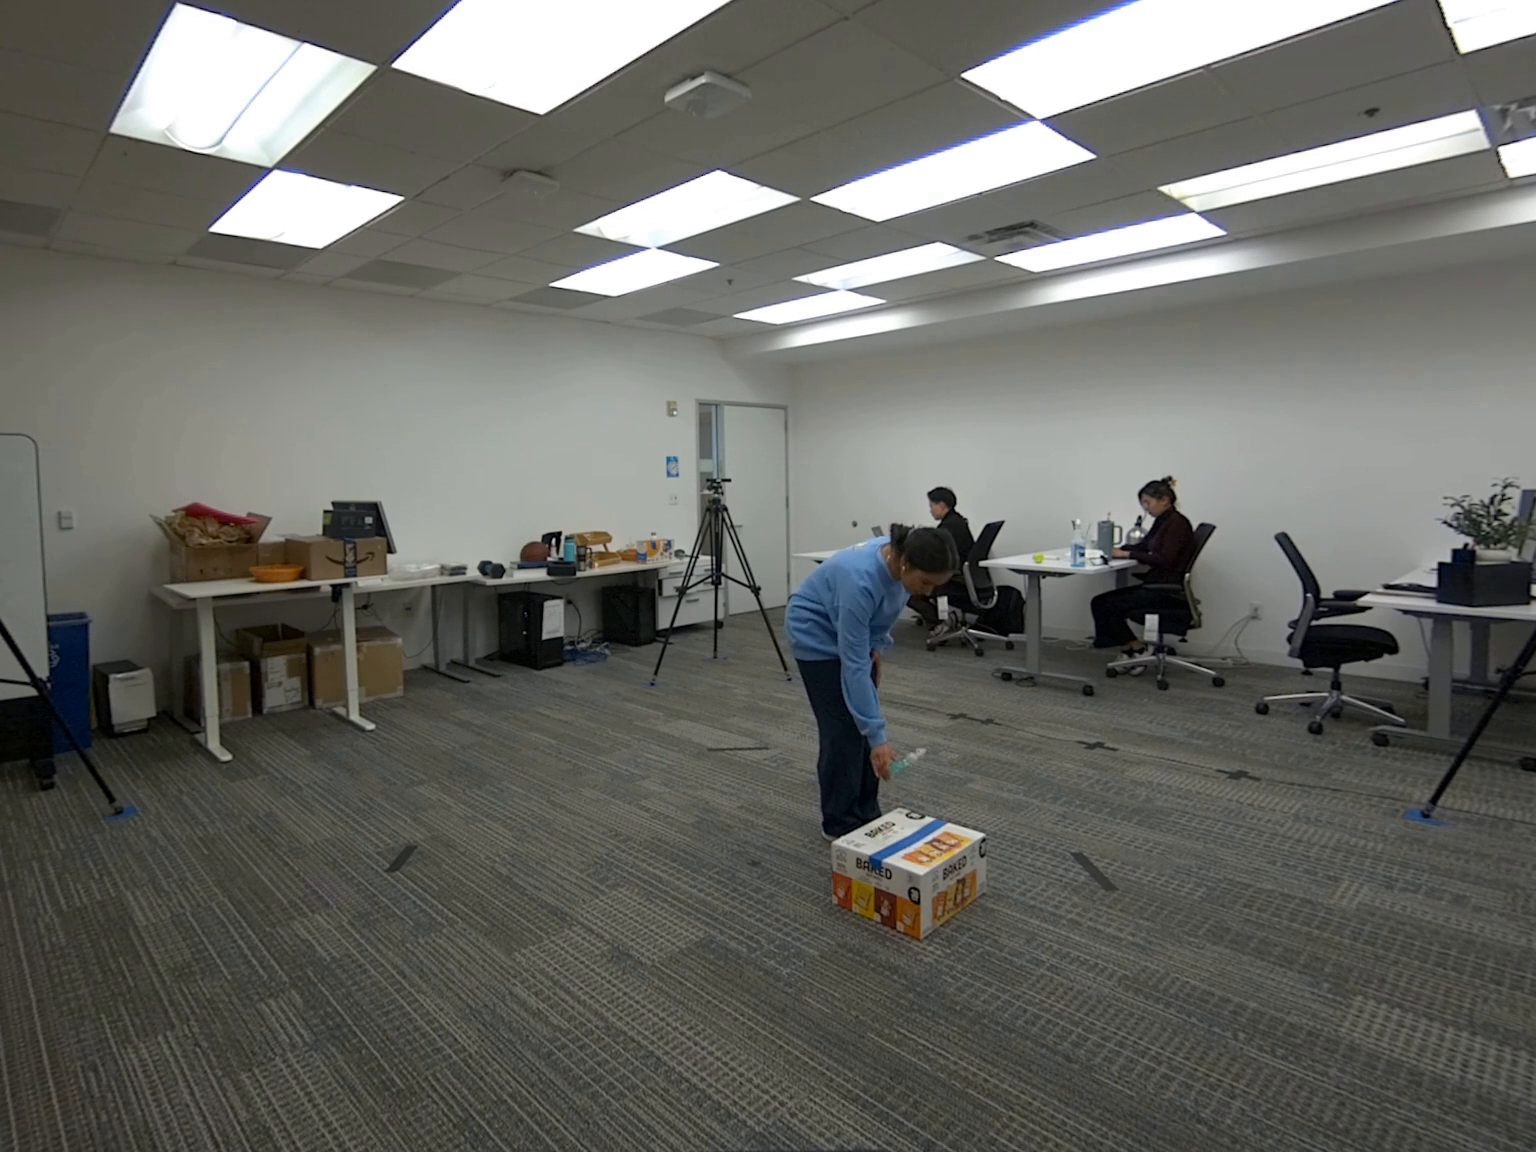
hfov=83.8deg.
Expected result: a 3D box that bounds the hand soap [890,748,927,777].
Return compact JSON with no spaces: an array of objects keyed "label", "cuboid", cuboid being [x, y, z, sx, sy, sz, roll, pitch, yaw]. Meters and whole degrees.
[{"label":"hand soap","cuboid":[0.465,0.619,2.849,0.083,0.044,0.167,-16,-26,-36]}]
